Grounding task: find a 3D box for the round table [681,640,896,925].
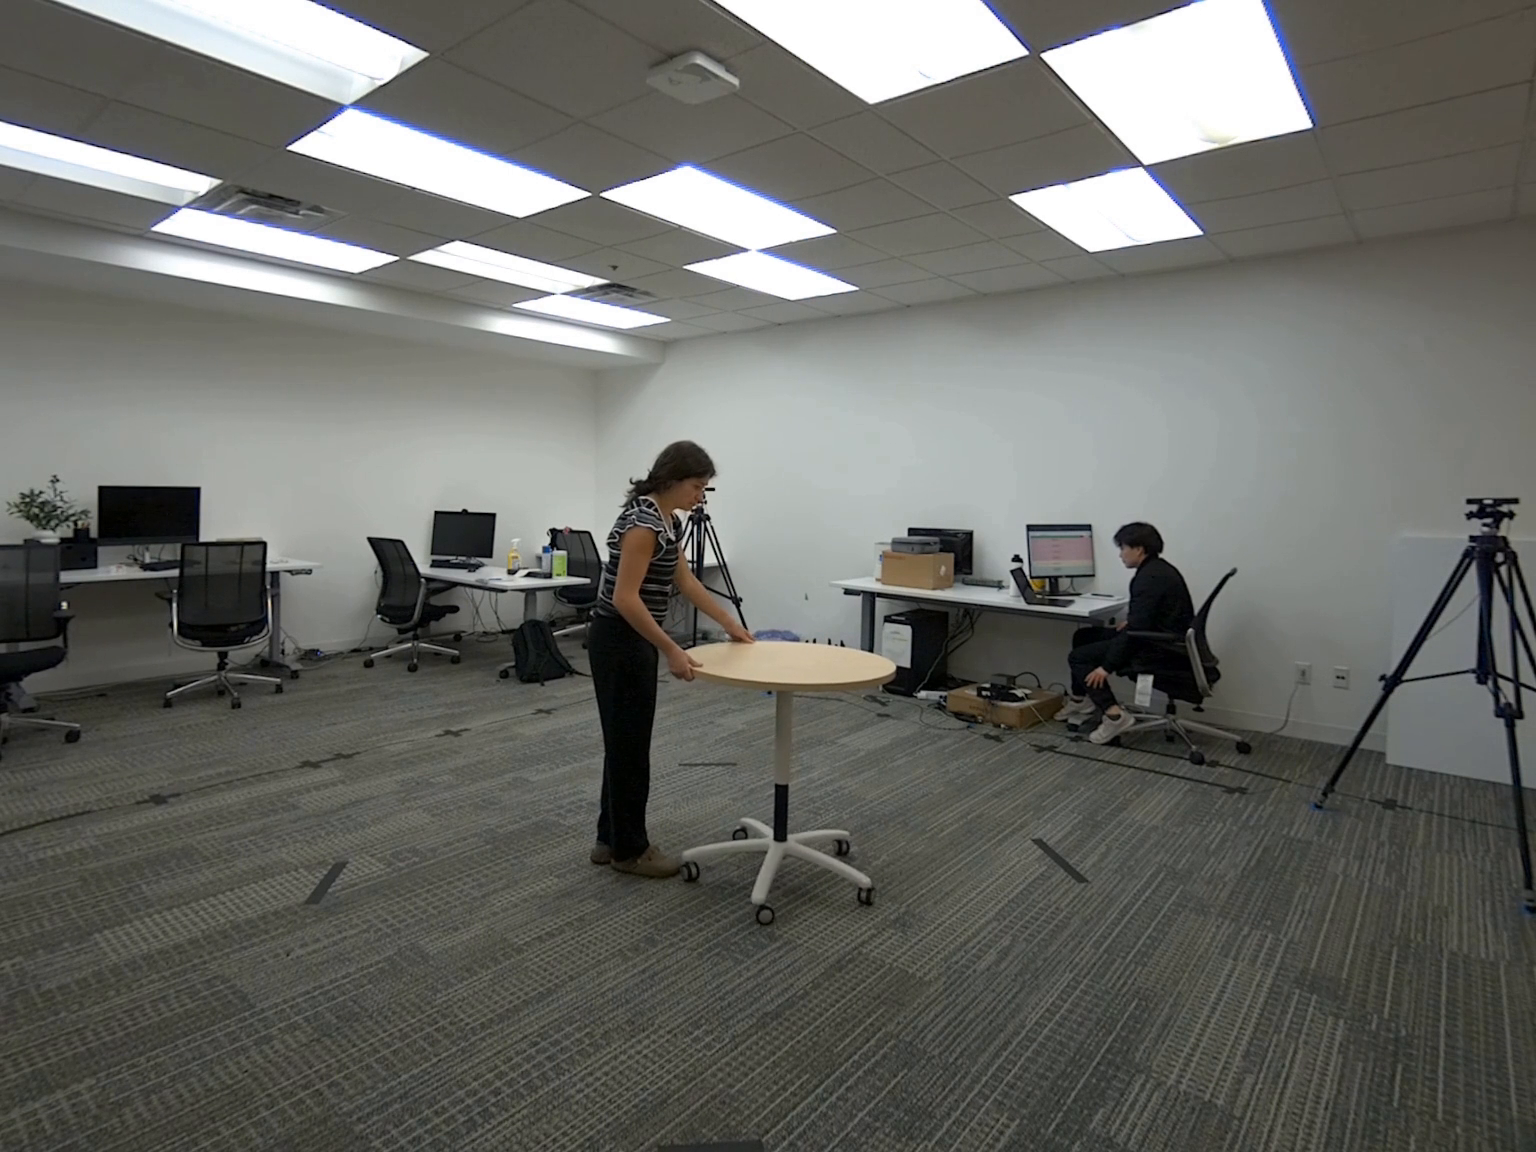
[{"bbox_3d":[0.057,0.686,3.015,0.784,0.784,0.788,1,4,-2],"label":"round table"}]
